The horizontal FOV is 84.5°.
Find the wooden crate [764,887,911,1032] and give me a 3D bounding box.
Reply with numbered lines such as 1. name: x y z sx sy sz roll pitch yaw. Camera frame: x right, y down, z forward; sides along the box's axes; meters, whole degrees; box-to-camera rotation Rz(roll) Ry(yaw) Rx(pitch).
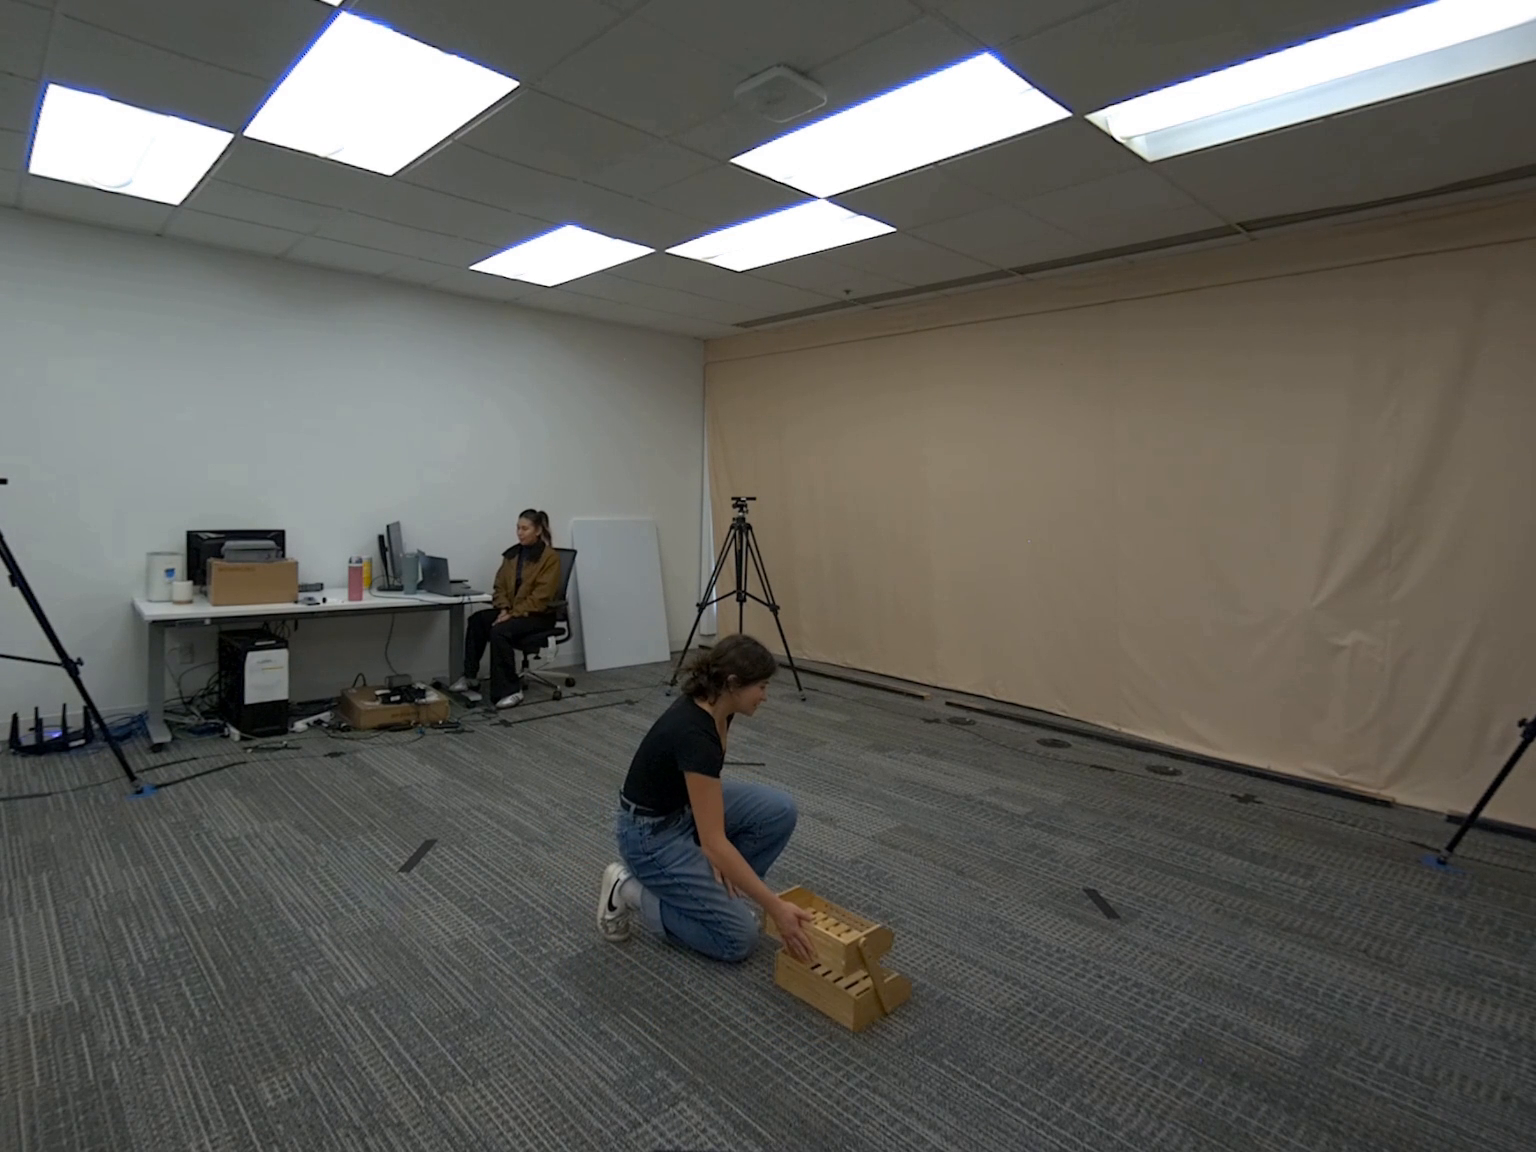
1. wooden crate: 0.191 1.048 2.374 0.295 0.272 0.333 -4 6 -43
